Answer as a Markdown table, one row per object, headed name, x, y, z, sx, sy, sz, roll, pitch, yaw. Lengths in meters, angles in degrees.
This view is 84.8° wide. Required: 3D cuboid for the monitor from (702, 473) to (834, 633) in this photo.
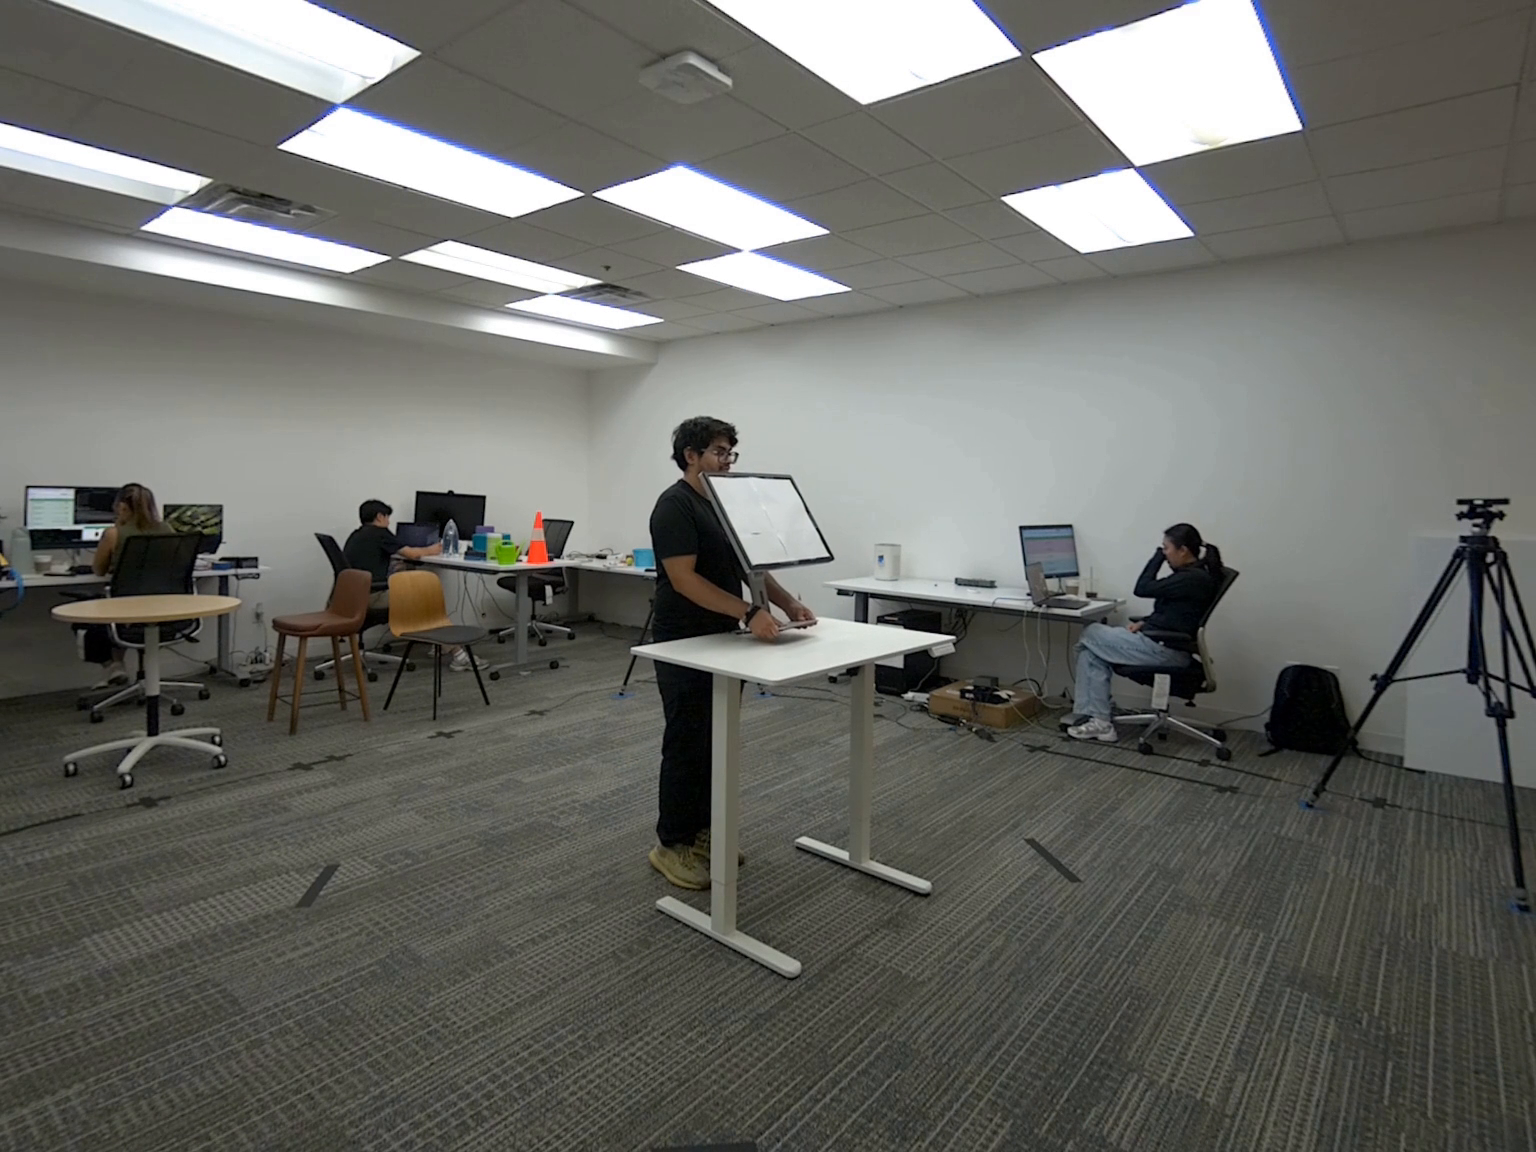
| name | x | y | z | sx | sy | sz | roll | pitch | yaw |
| --- | --- | --- | --- | --- | --- | --- | --- | --- | --- |
| monitor | -0.023 | -0.083 | 2.933 | 0.213 | 0.562 | 0.550 | -27 | -12 | 32 |
